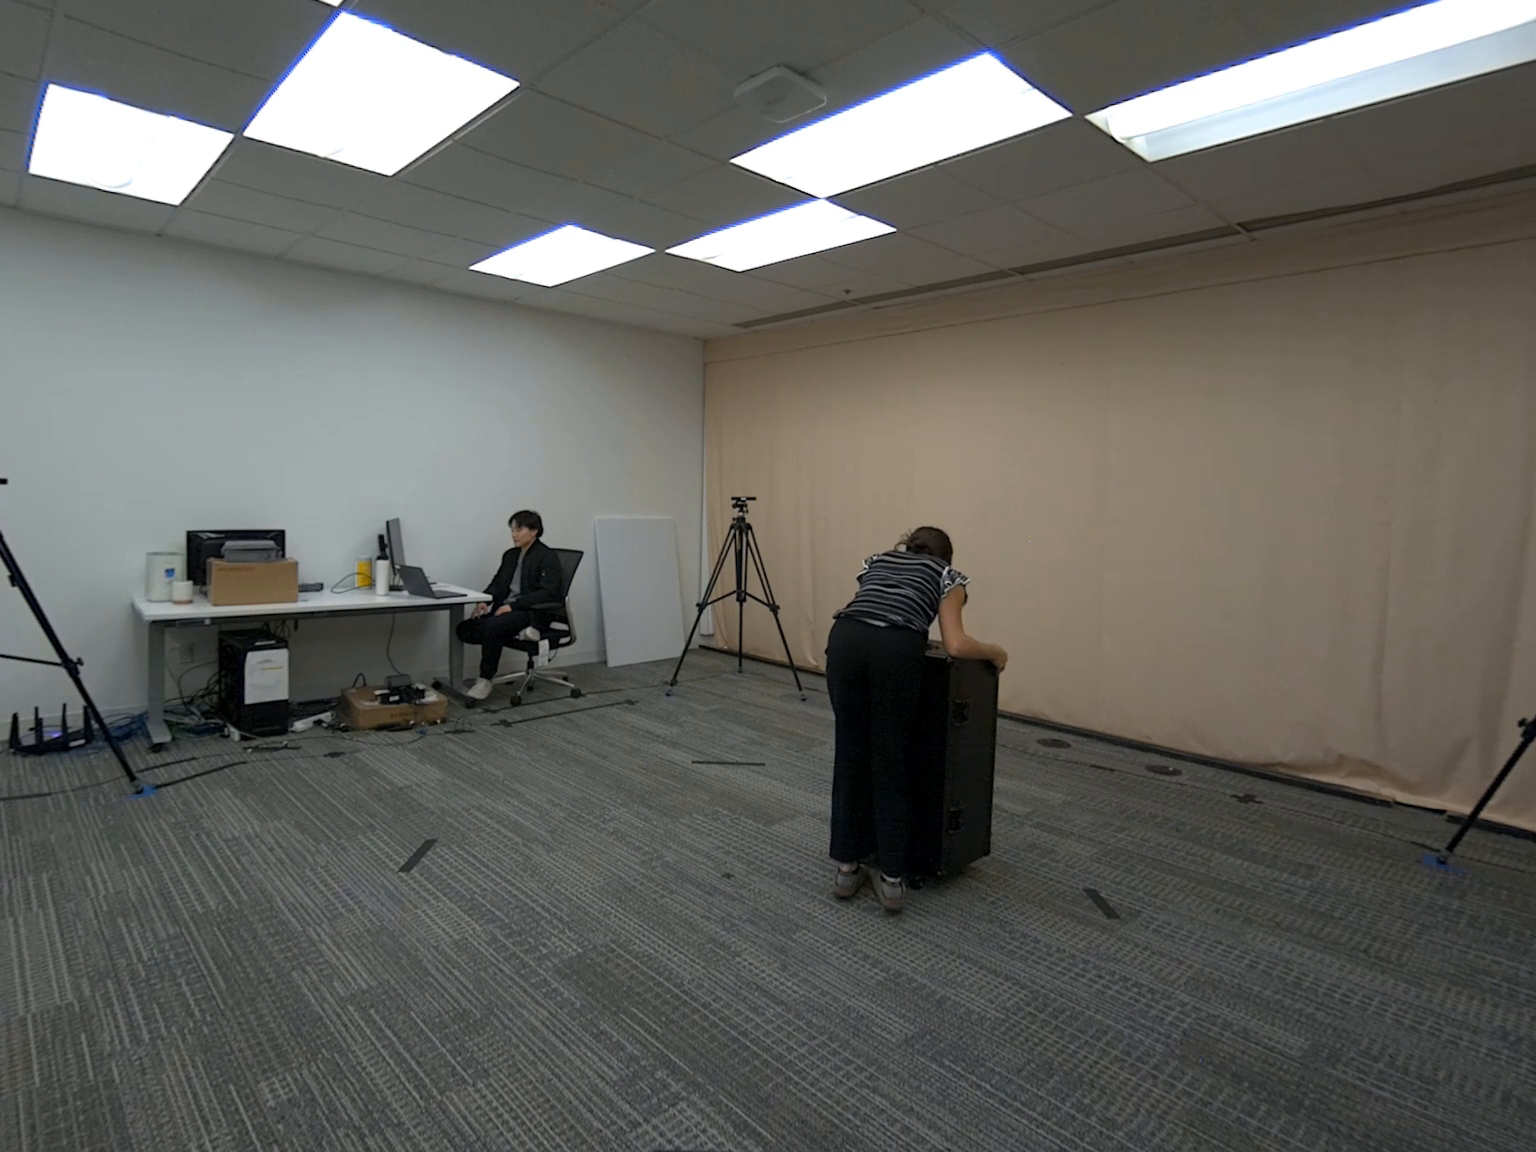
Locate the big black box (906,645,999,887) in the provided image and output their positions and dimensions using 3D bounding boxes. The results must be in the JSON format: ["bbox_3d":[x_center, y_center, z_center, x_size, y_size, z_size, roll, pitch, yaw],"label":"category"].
[{"bbox_3d":[0.559,0.696,3.243,0.534,0.860,0.387,5,3,44],"label":"big black box"}]
